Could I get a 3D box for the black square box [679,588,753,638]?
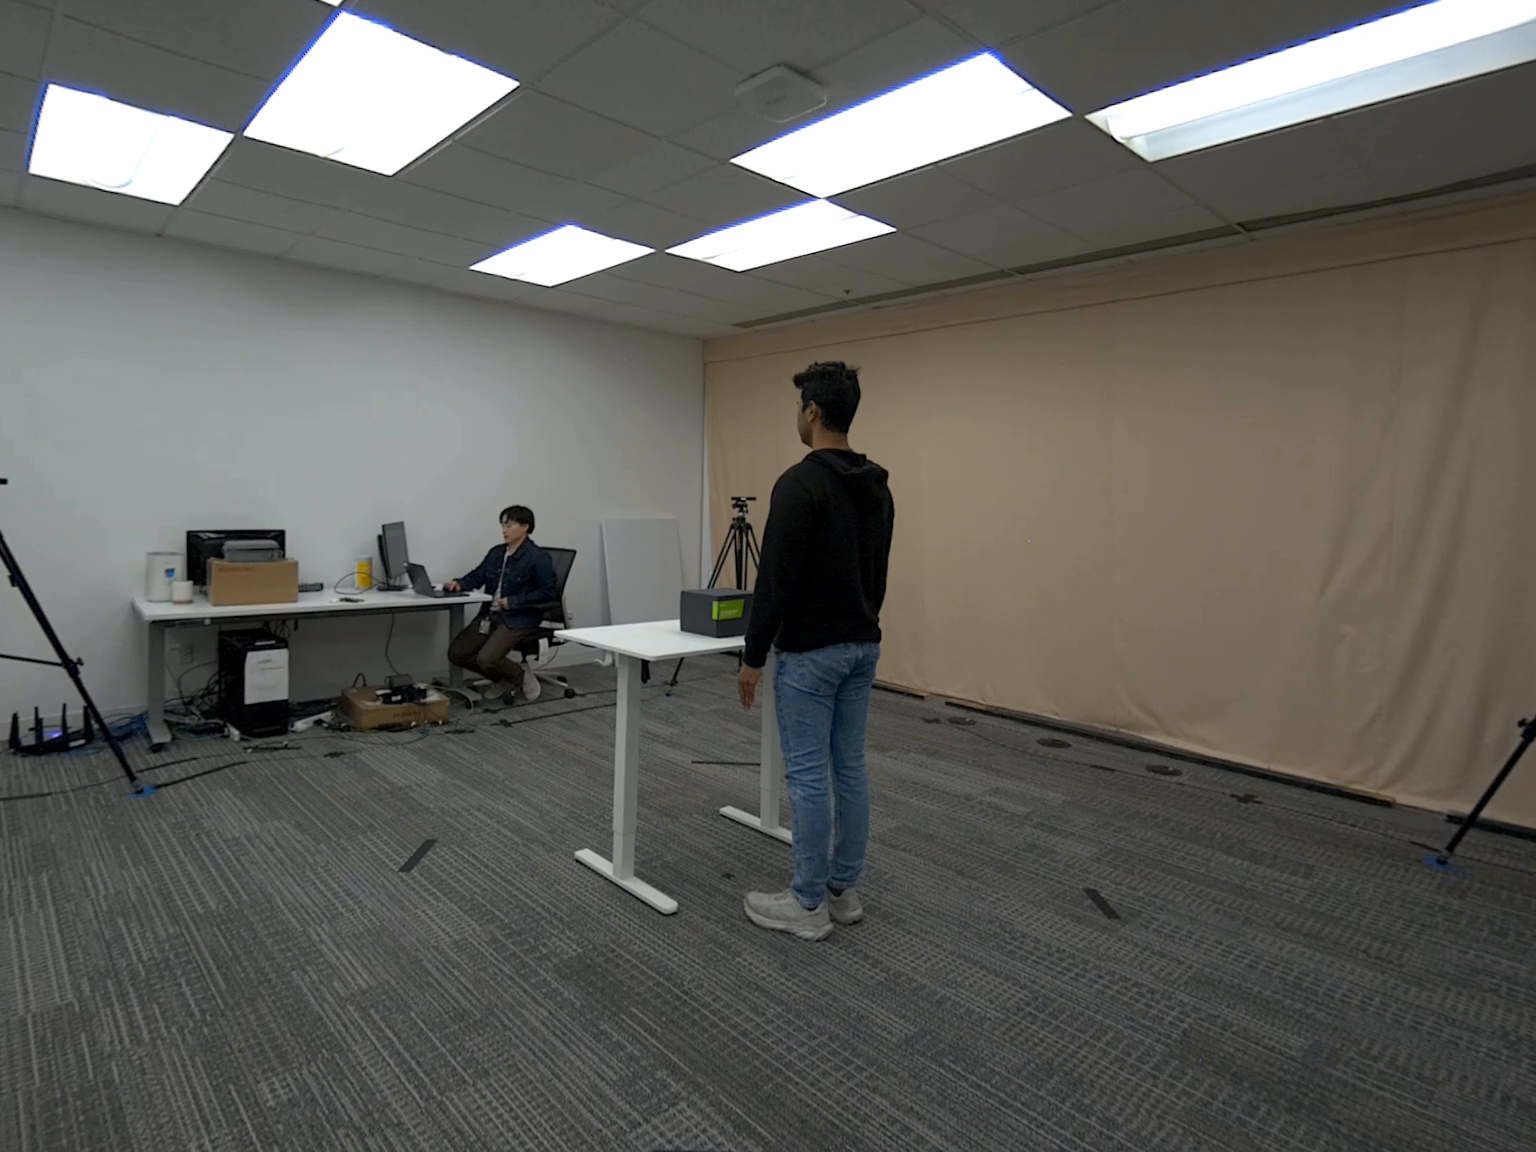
[{"bbox_3d":[-0.184,0.136,3.201,0.222,0.155,0.222,6,6,44],"label":"black square box"}]
